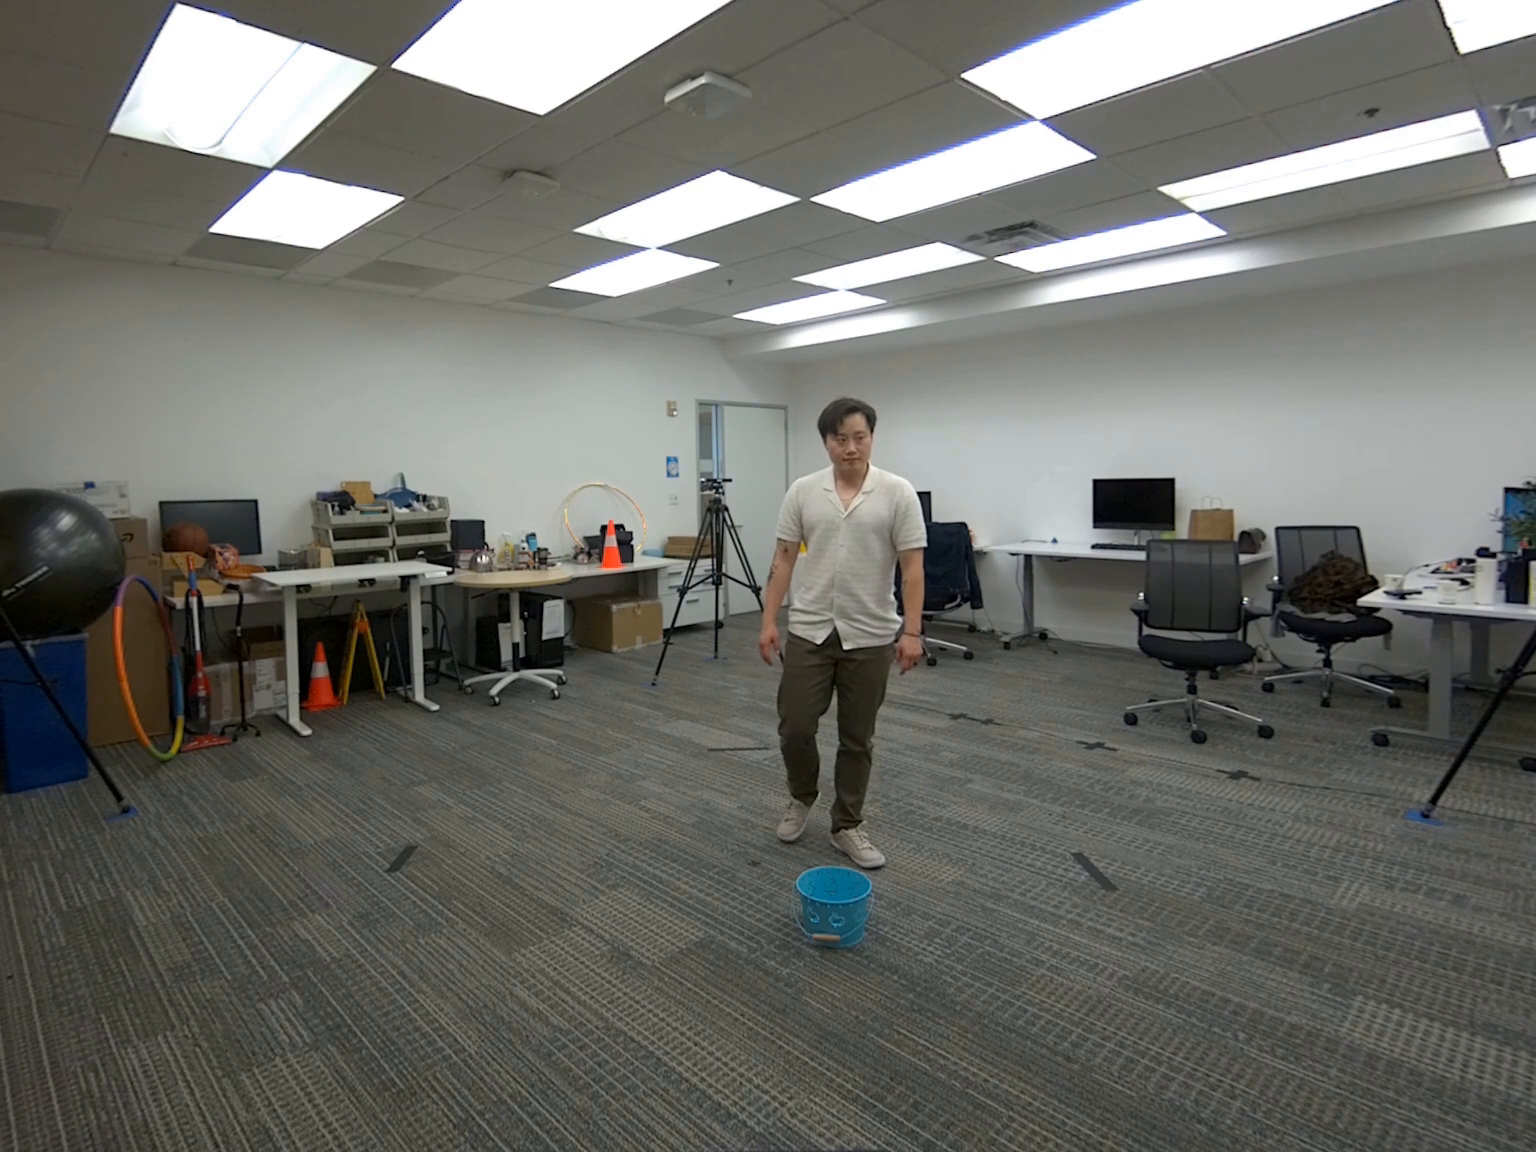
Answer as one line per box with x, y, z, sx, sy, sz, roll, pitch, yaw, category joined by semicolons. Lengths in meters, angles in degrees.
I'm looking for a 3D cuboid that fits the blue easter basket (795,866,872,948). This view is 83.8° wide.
0.201;1.019;2.623;0.243;0.155;0.245;-1;5;-2;blue easter basket
